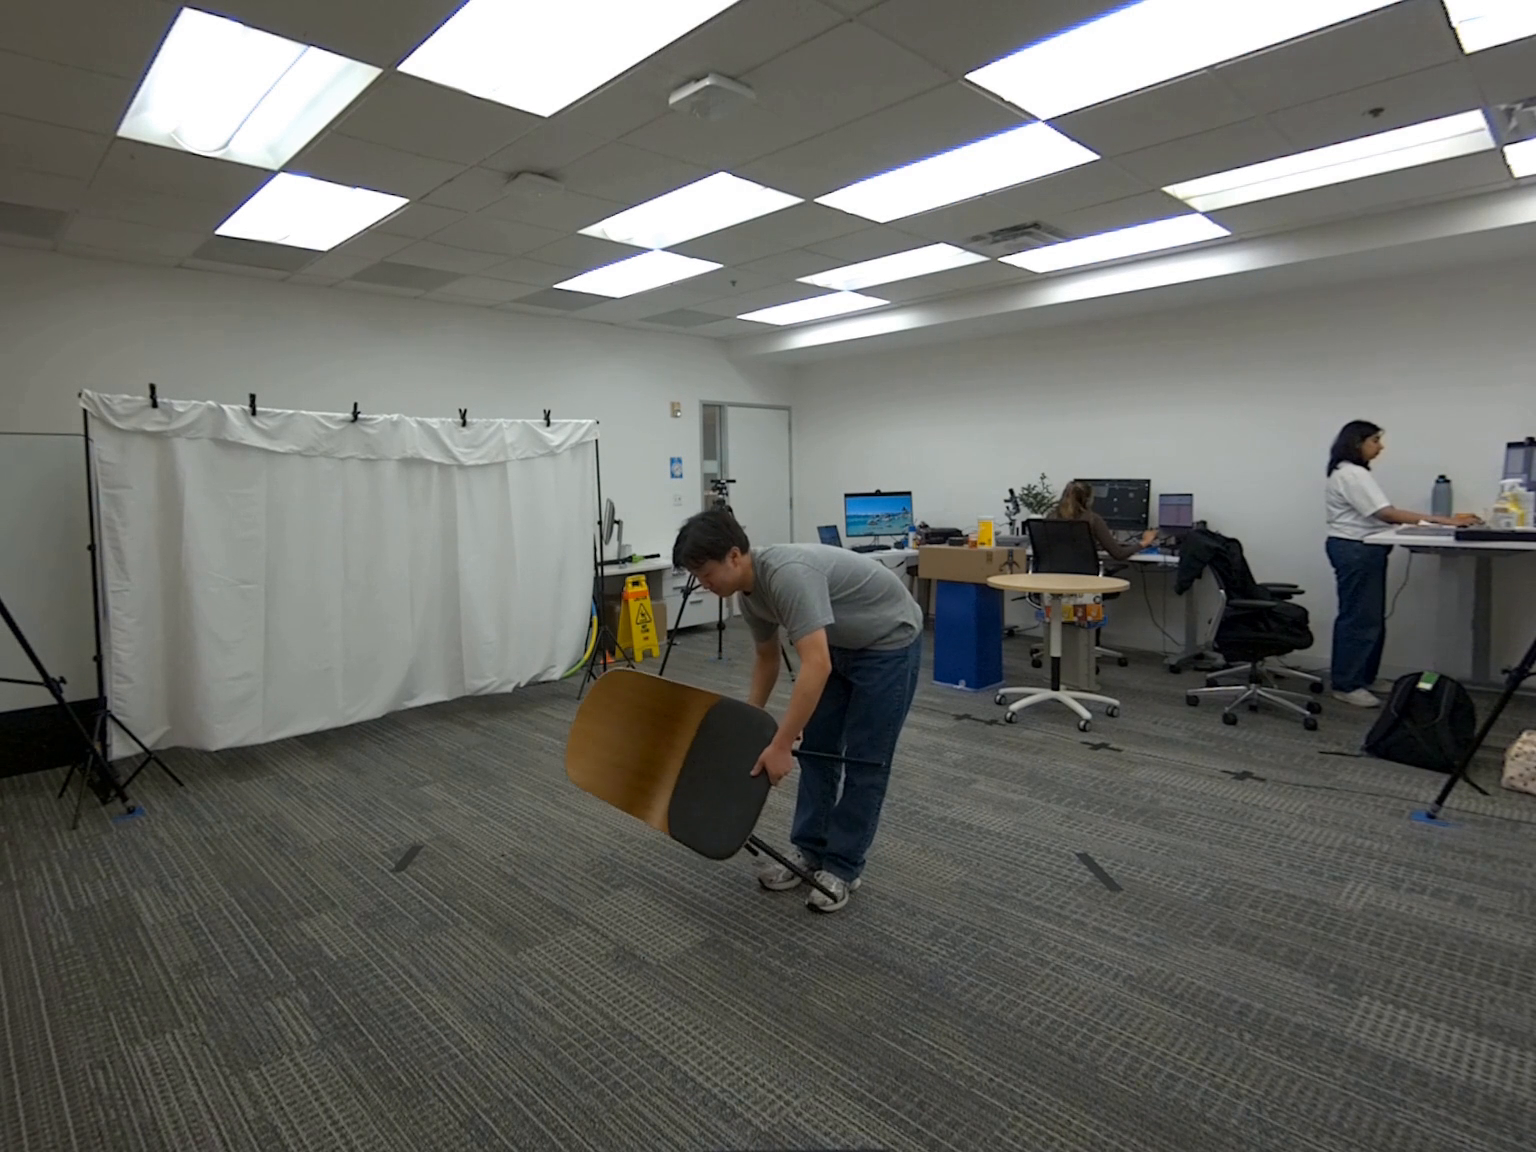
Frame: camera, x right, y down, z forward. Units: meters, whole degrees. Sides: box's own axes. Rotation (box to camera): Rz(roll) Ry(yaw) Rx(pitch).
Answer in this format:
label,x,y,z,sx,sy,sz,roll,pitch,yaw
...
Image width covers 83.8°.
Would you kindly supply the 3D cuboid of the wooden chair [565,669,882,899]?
label,x,y,z,sx,sy,sz,roll,pitch,yaw
wooden chair,-0.138,0.624,2.707,0.851,0.481,0.536,29,-15,-27
